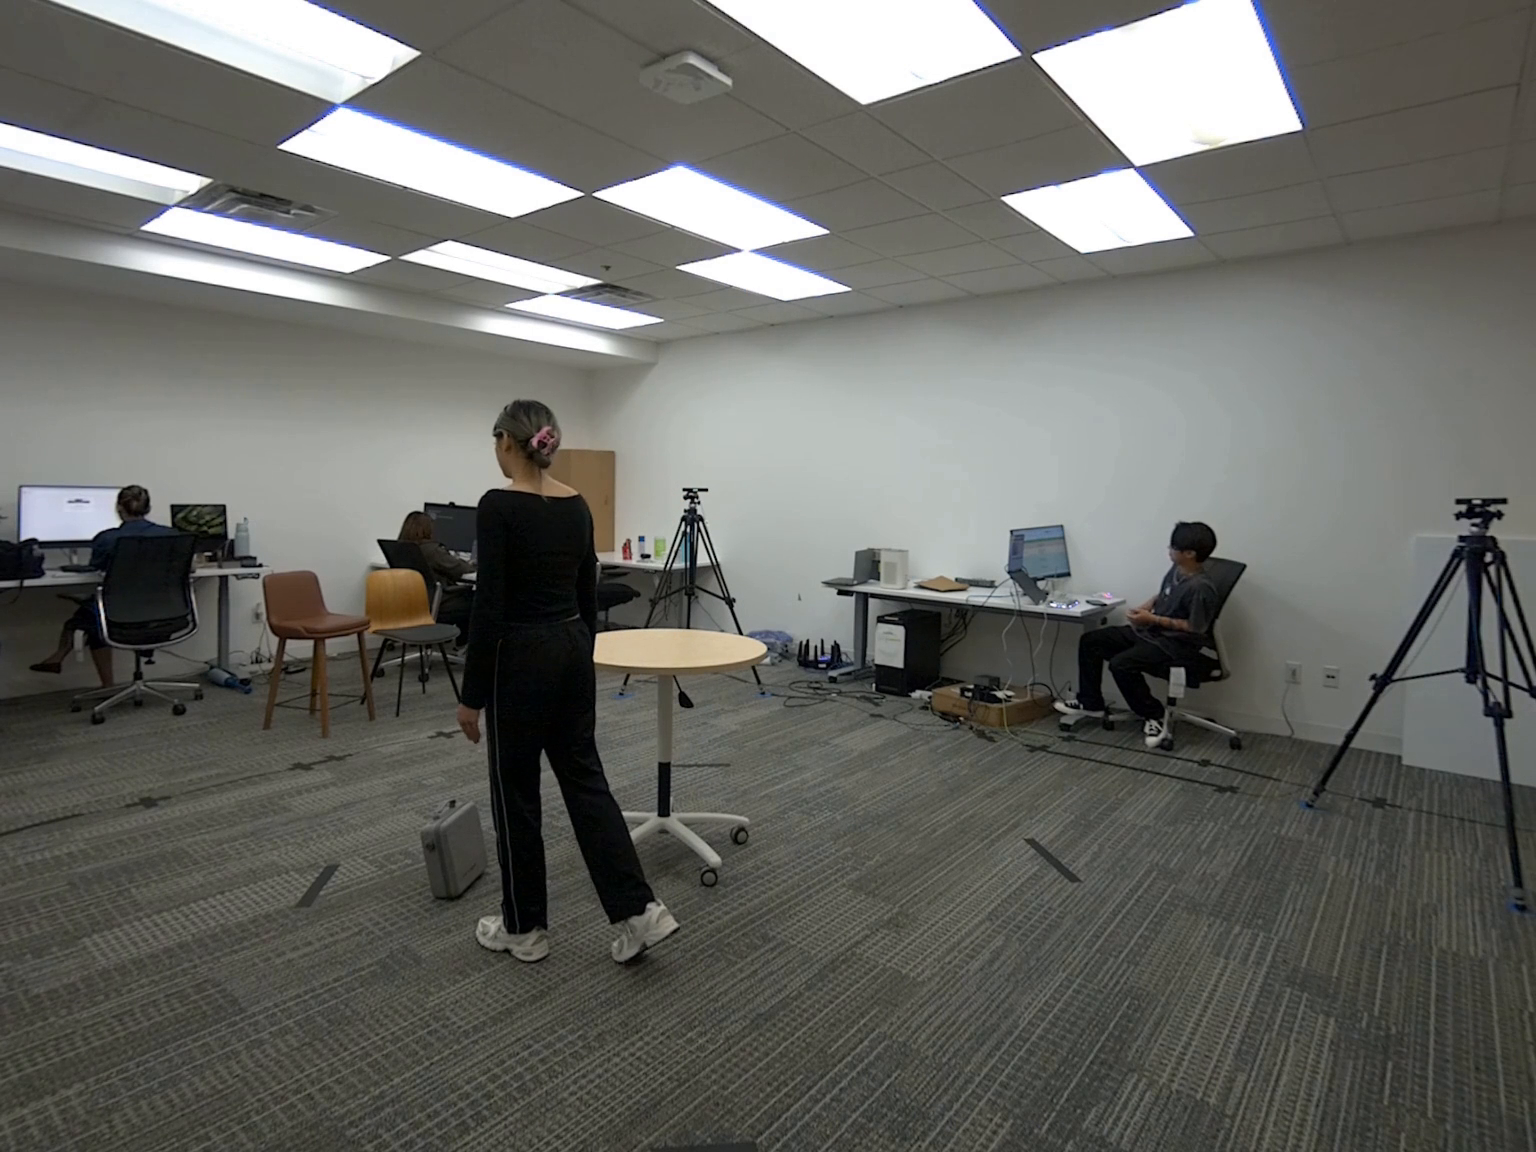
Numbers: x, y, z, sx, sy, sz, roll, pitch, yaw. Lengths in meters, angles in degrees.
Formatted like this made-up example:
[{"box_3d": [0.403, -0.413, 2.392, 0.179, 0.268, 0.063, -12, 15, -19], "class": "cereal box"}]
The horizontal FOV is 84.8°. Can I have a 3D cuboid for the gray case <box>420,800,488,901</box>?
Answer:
[{"box_3d": [-1.095, 0.941, 2.948, 0.105, 0.260, 0.255, -10, 2, 7], "class": "gray case"}]
